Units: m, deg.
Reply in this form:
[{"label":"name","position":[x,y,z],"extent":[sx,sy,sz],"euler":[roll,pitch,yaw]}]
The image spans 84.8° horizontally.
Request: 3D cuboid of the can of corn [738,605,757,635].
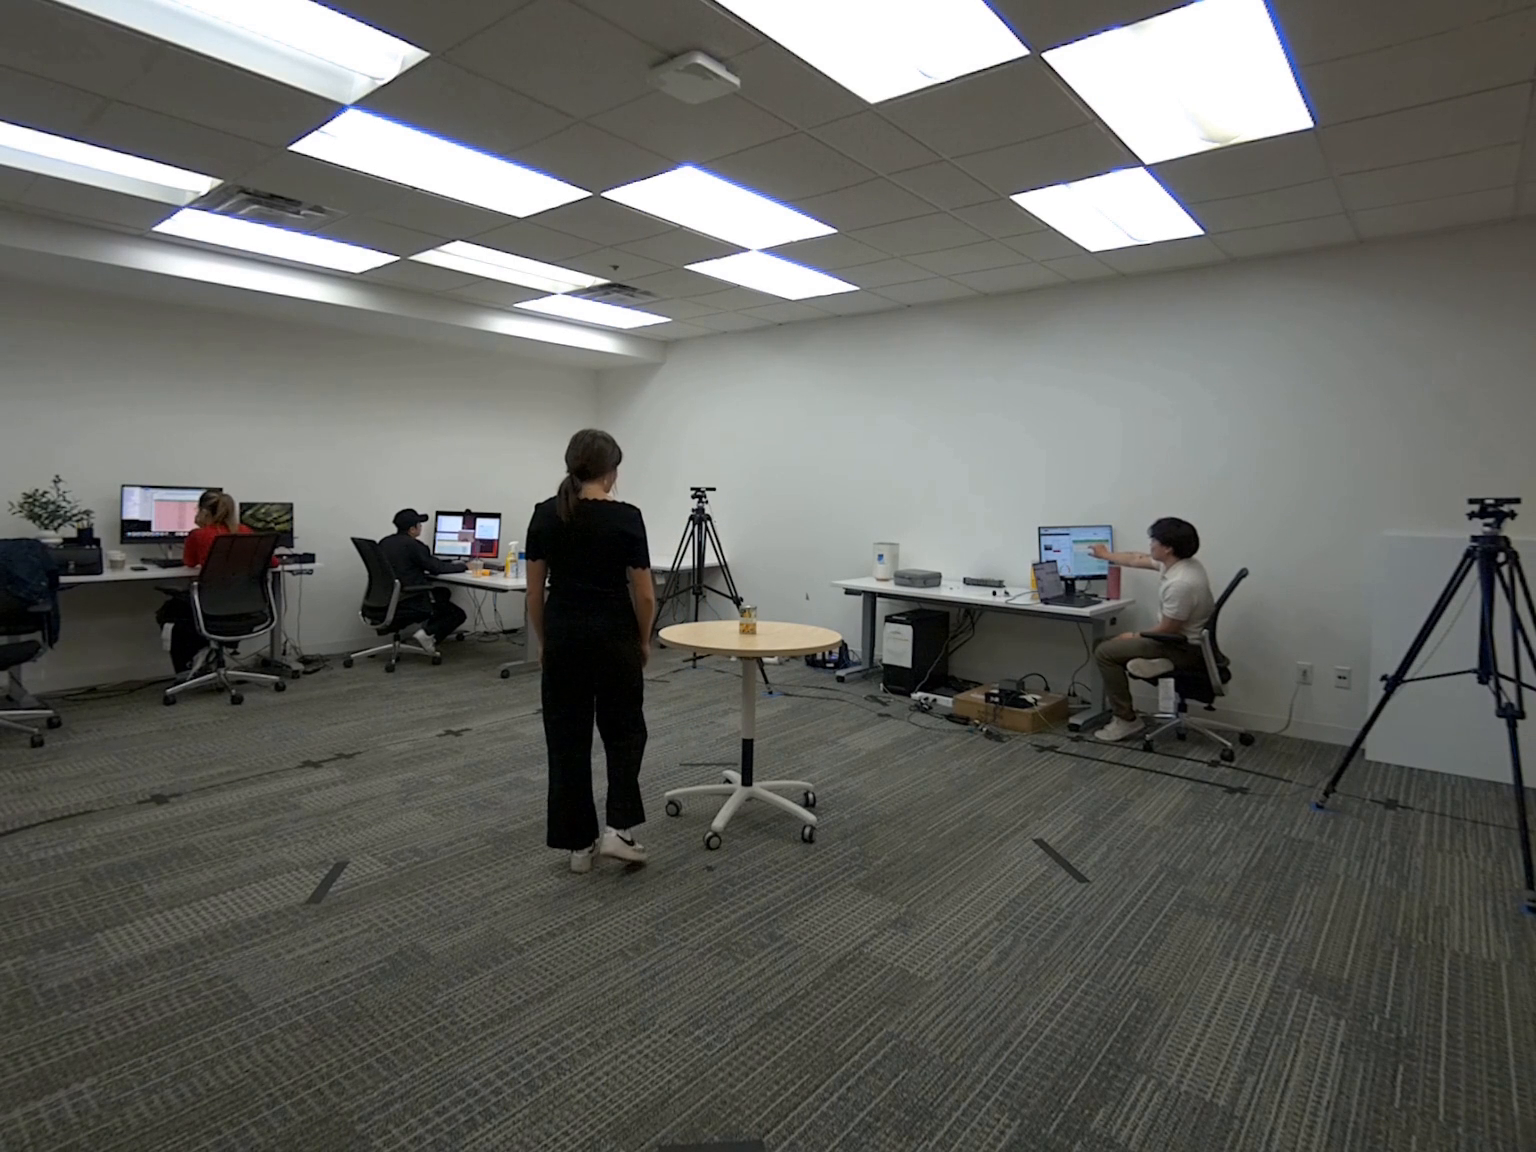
[{"label":"can of corn","position":[-0.096,0.183,3.589],"extent":[0.074,0.111,0.074],"euler":[2,1,-2]}]
